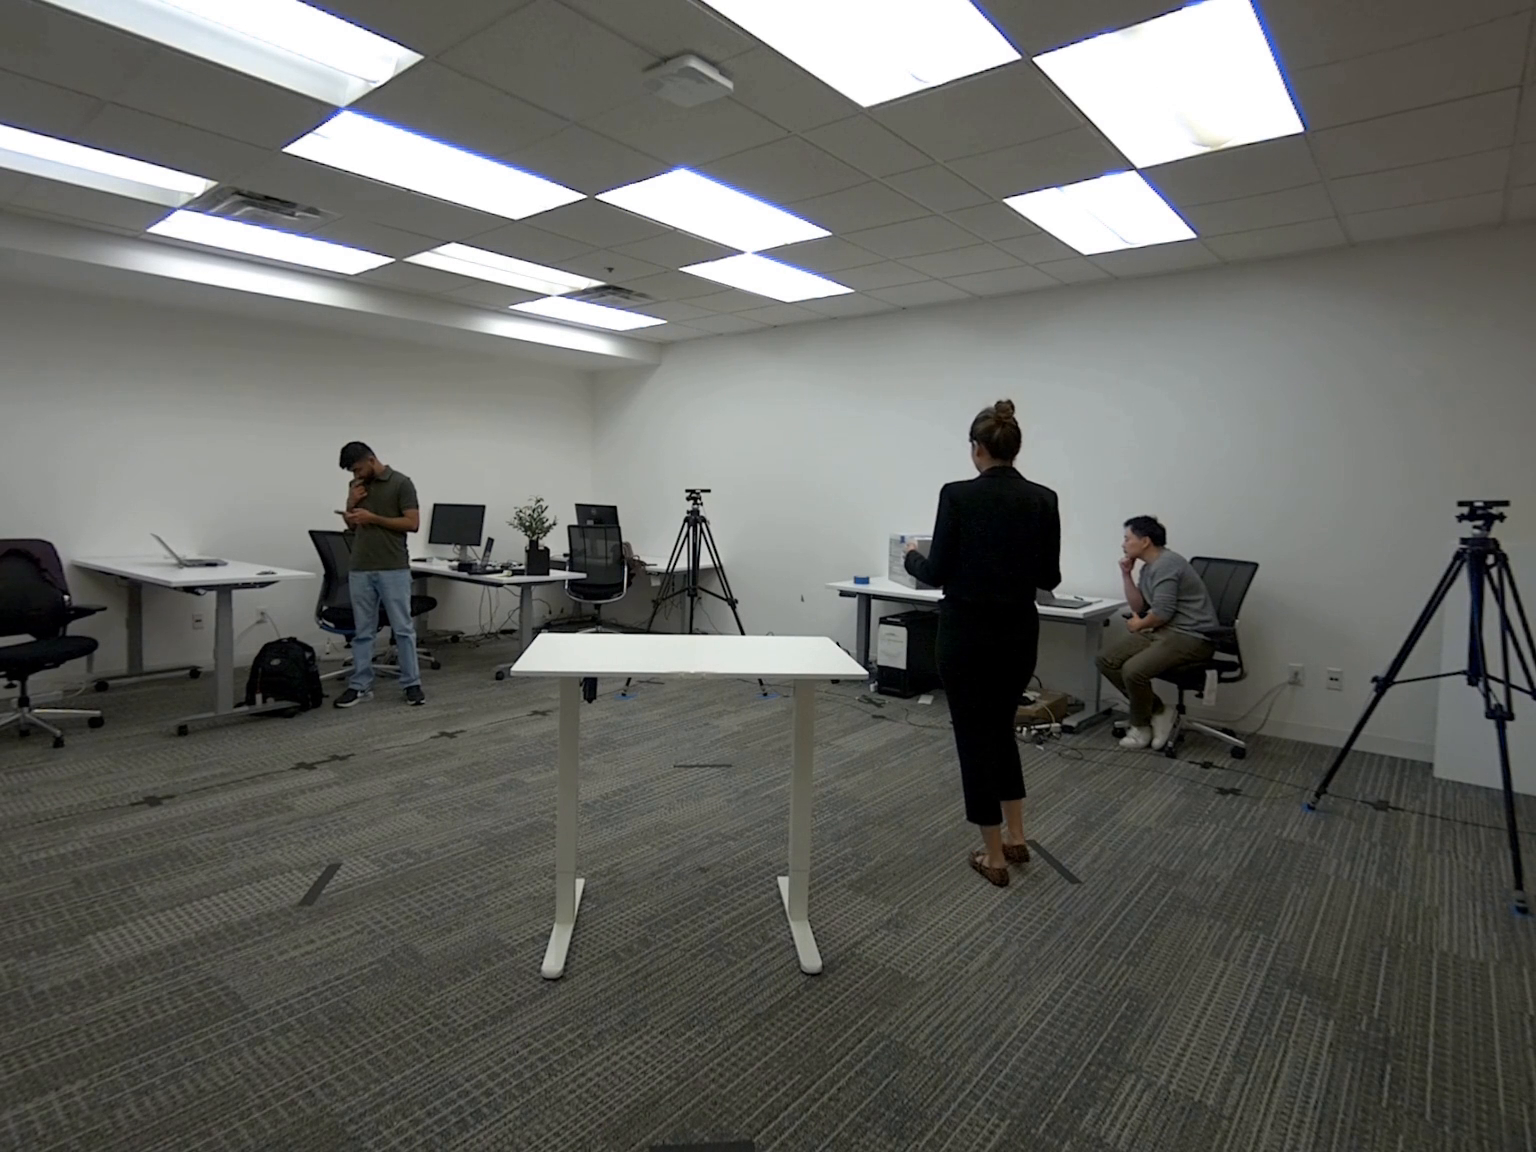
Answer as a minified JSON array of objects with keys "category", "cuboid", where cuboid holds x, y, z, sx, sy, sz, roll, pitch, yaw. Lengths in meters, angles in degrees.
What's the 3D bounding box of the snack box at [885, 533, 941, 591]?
[{"category":"snack box","cuboid":[0.737,-0.065,3.495,0.402,0.205,0.345,0,5,-8]}]
